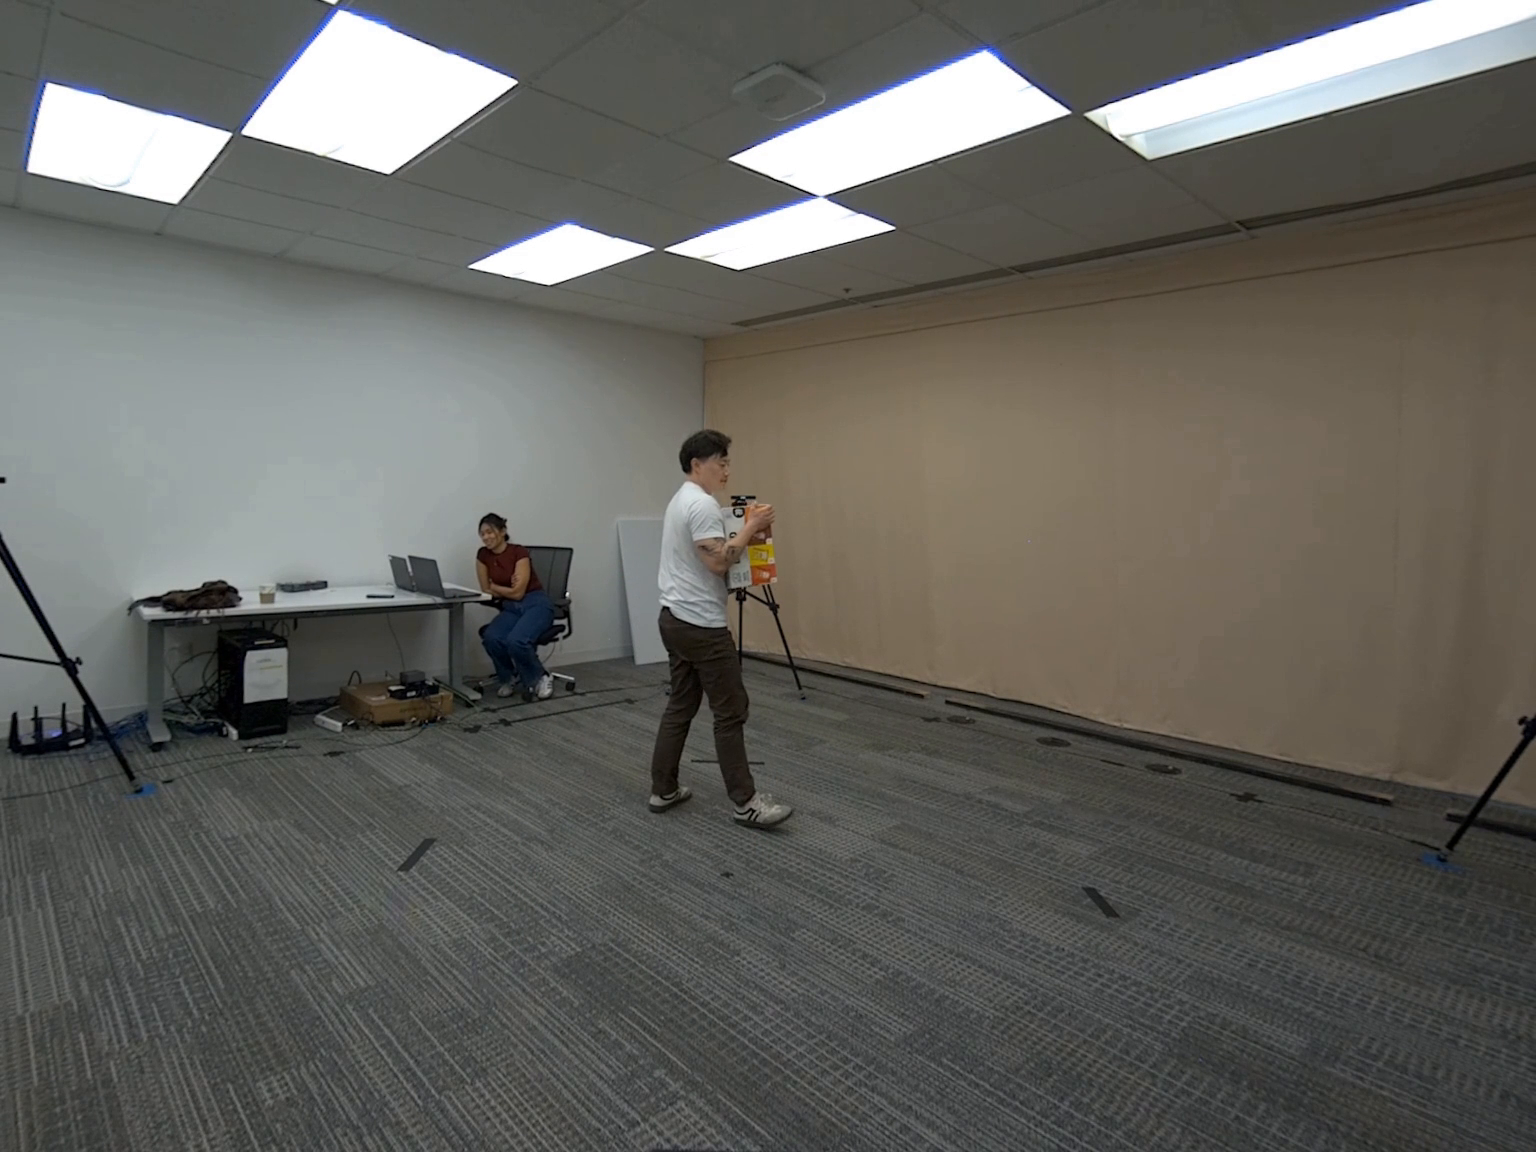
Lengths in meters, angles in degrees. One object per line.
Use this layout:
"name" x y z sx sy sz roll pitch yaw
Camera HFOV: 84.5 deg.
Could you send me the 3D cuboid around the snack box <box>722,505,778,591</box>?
"snack box" -0.114 -0.131 3.757 0.204 0.340 0.407 -5 0 -9
